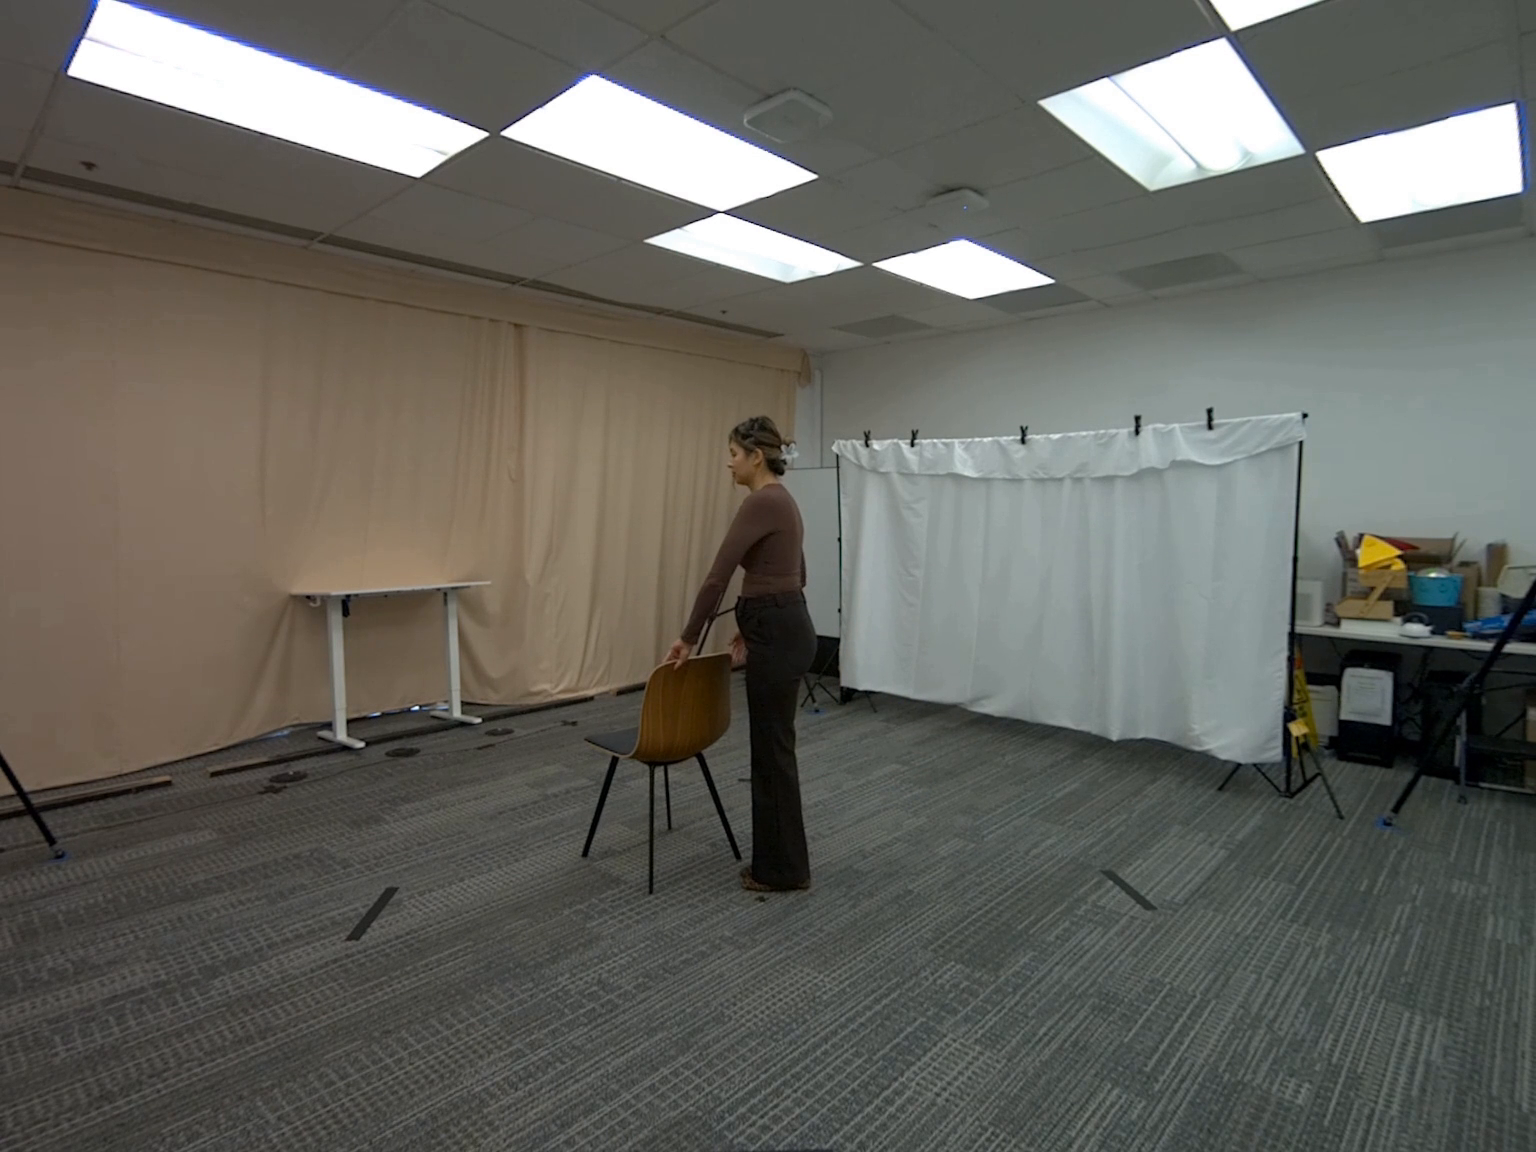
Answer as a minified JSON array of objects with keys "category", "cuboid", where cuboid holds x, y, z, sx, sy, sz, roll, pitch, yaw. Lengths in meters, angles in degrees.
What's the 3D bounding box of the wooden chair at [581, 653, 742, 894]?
[{"category":"wooden chair","cuboid":[-0.434,0.694,3.315,0.463,0.874,0.541,-4,9,-43]}]
